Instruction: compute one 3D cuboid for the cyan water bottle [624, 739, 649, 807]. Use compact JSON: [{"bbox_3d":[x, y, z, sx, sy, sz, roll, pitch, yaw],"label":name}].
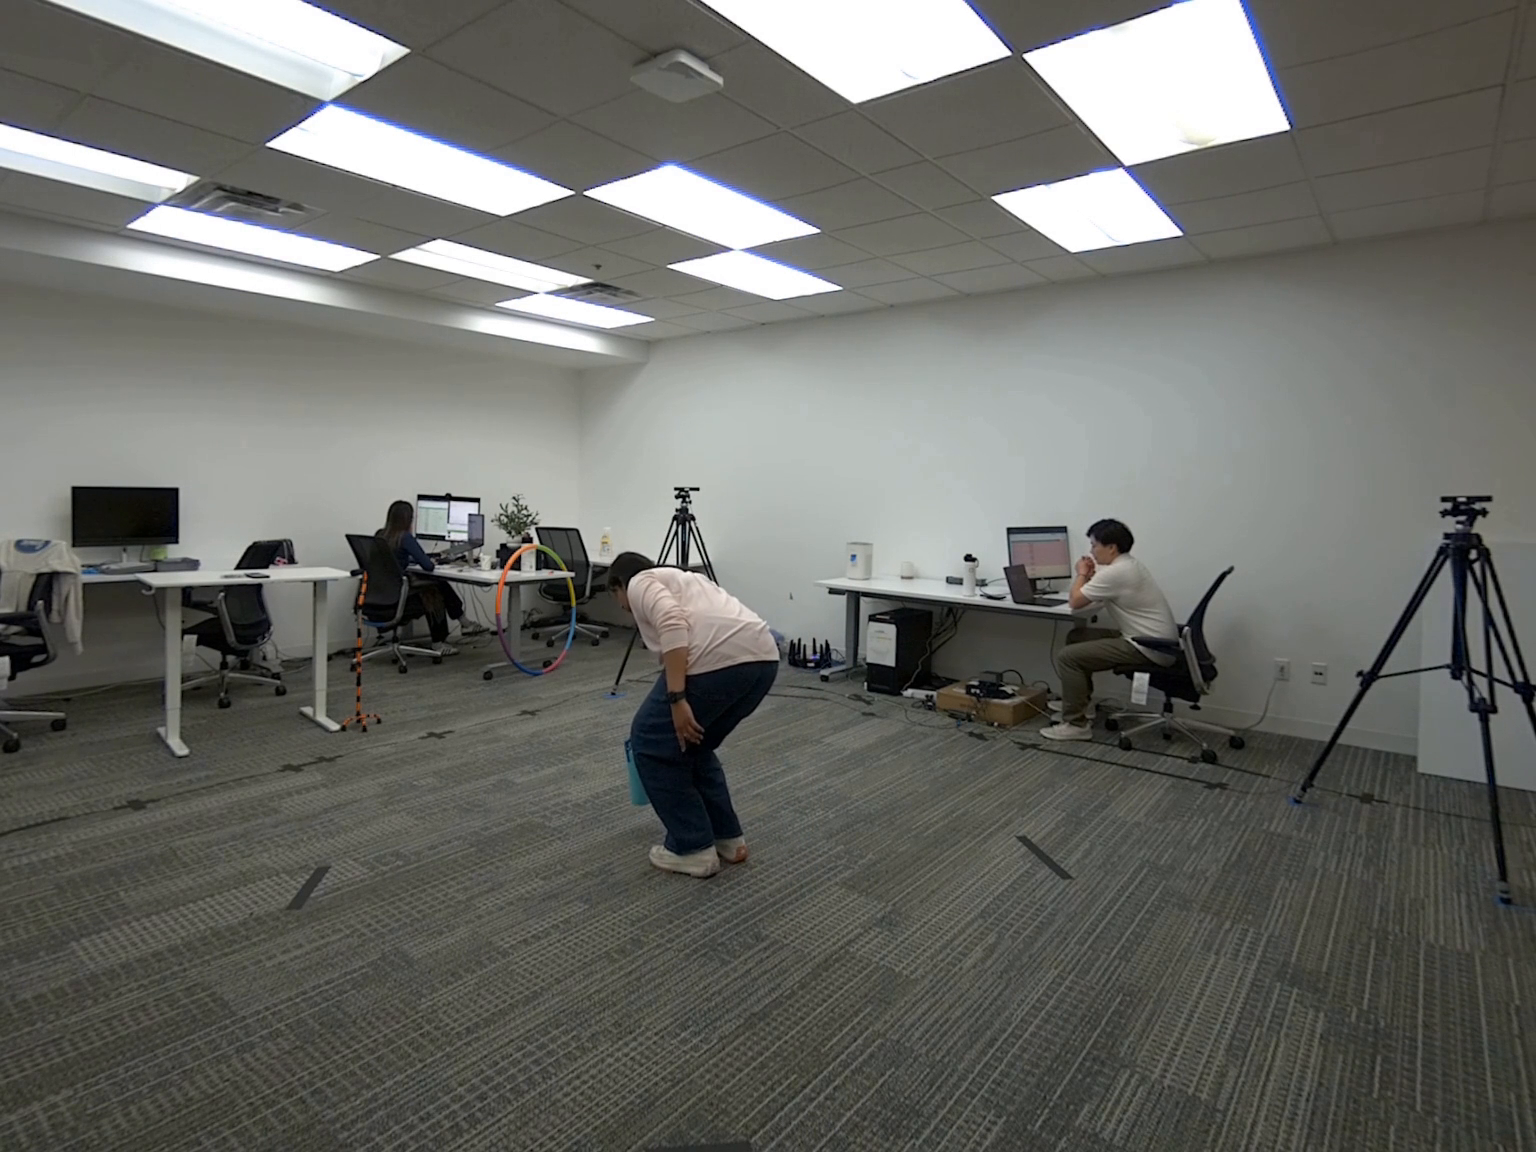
[{"bbox_3d":[-0.537,0.774,3.463,0.092,0.283,0.092,-5,0,-2],"label":"cyan water bottle"}]
